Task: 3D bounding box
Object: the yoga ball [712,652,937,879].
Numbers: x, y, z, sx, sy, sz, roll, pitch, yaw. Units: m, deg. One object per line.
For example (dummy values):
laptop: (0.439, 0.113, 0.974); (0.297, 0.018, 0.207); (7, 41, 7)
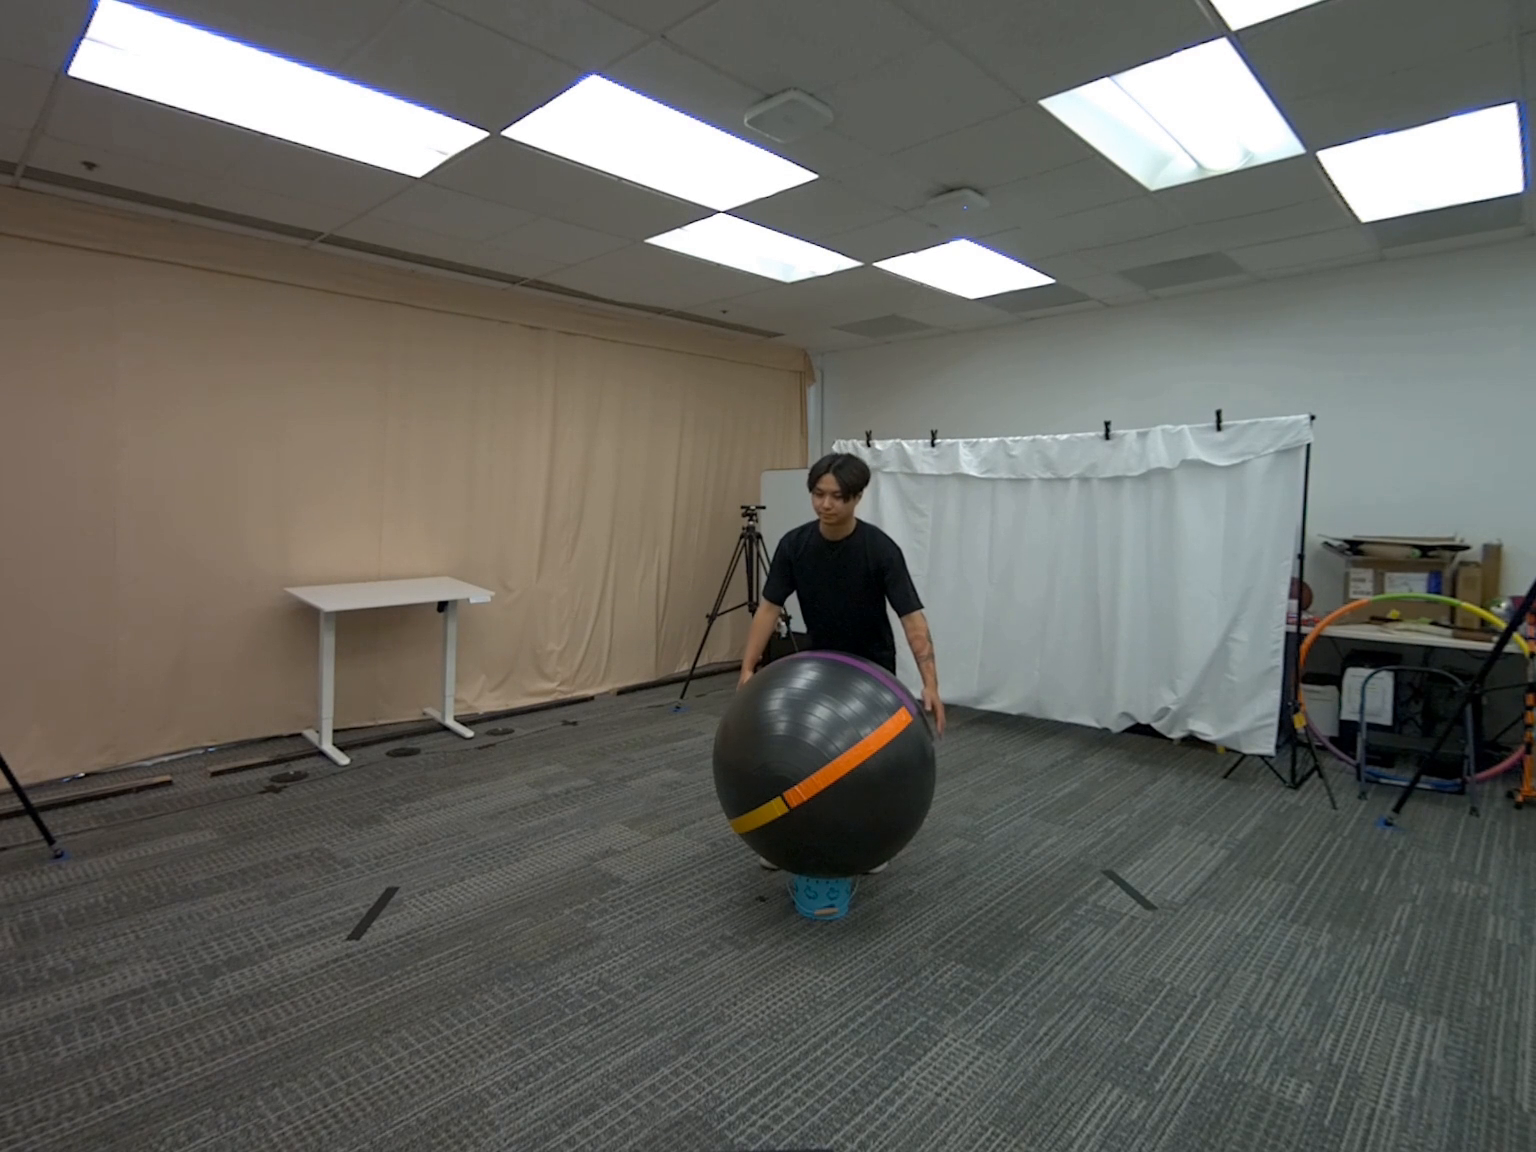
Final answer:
yoga ball: (0.192, 0.641, 2.890); (0.757, 0.756, 0.761); (0, 4, -2)
